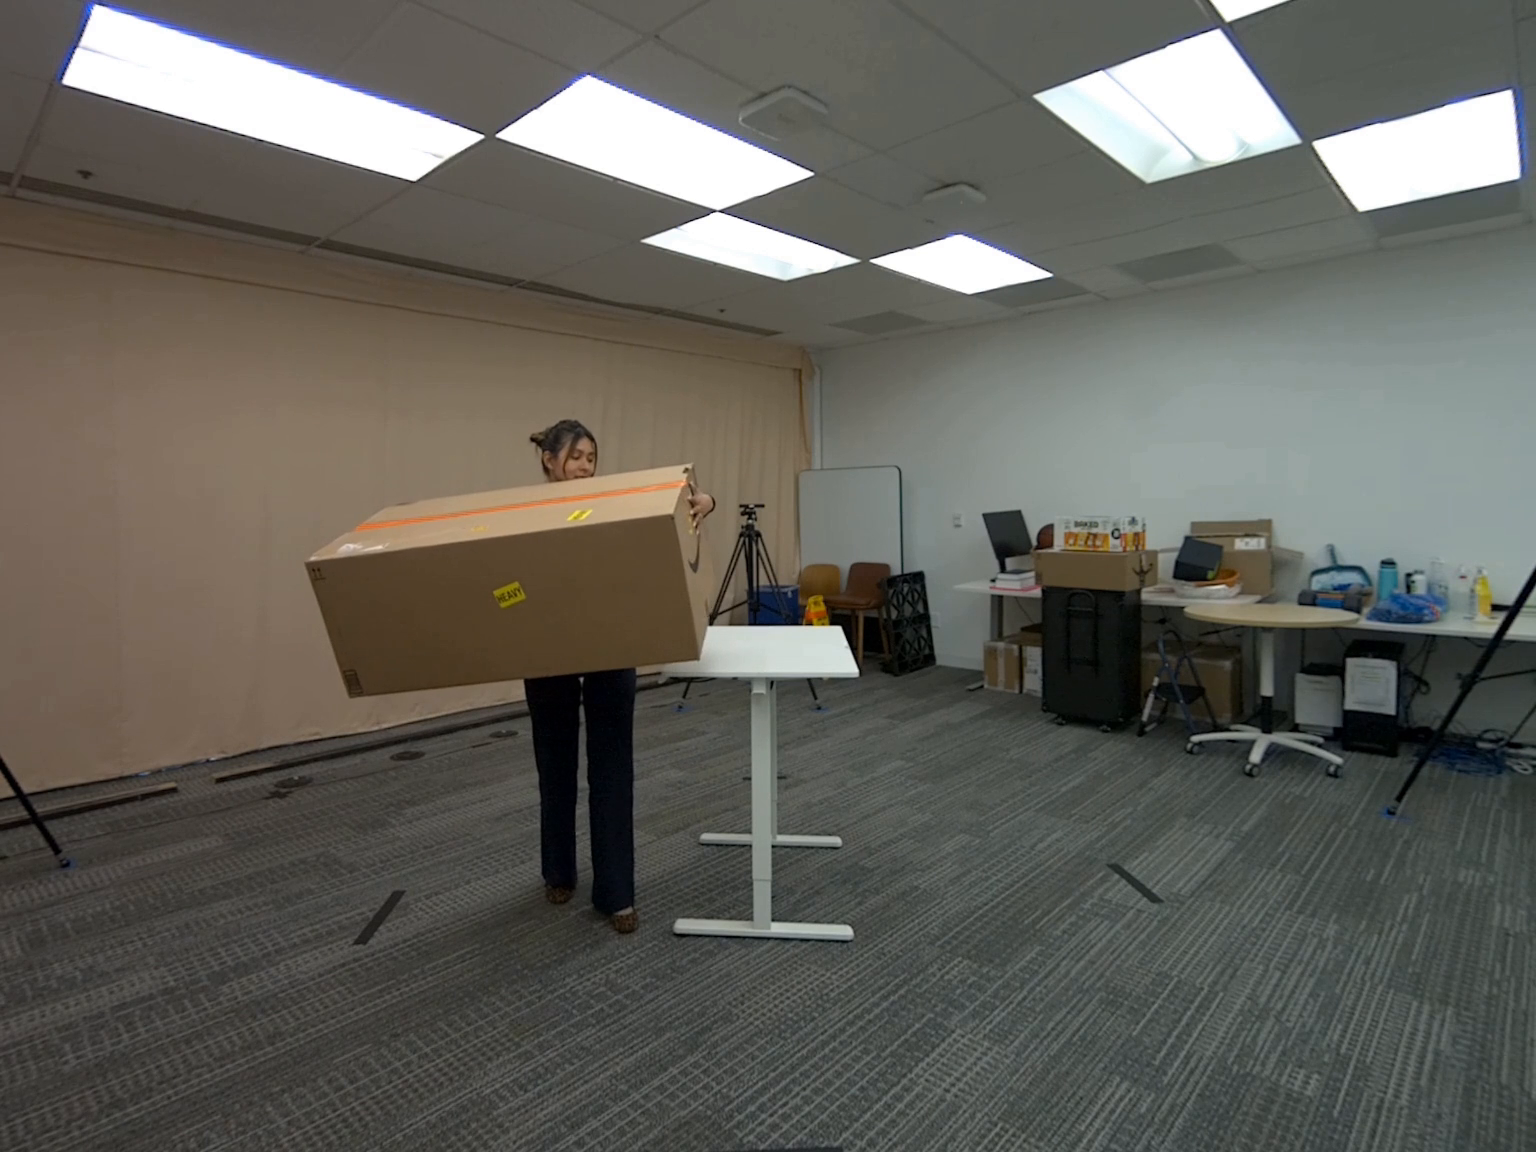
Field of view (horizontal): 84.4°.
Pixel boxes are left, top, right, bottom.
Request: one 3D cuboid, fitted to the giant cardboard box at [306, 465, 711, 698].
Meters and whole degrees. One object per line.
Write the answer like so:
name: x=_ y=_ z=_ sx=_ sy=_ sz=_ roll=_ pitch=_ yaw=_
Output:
giant cardboard box: x=-0.710 y=-0.012 z=2.532 sx=1.033 sy=0.420 sz=0.582 roll=-7 pitch=19 yaw=6
